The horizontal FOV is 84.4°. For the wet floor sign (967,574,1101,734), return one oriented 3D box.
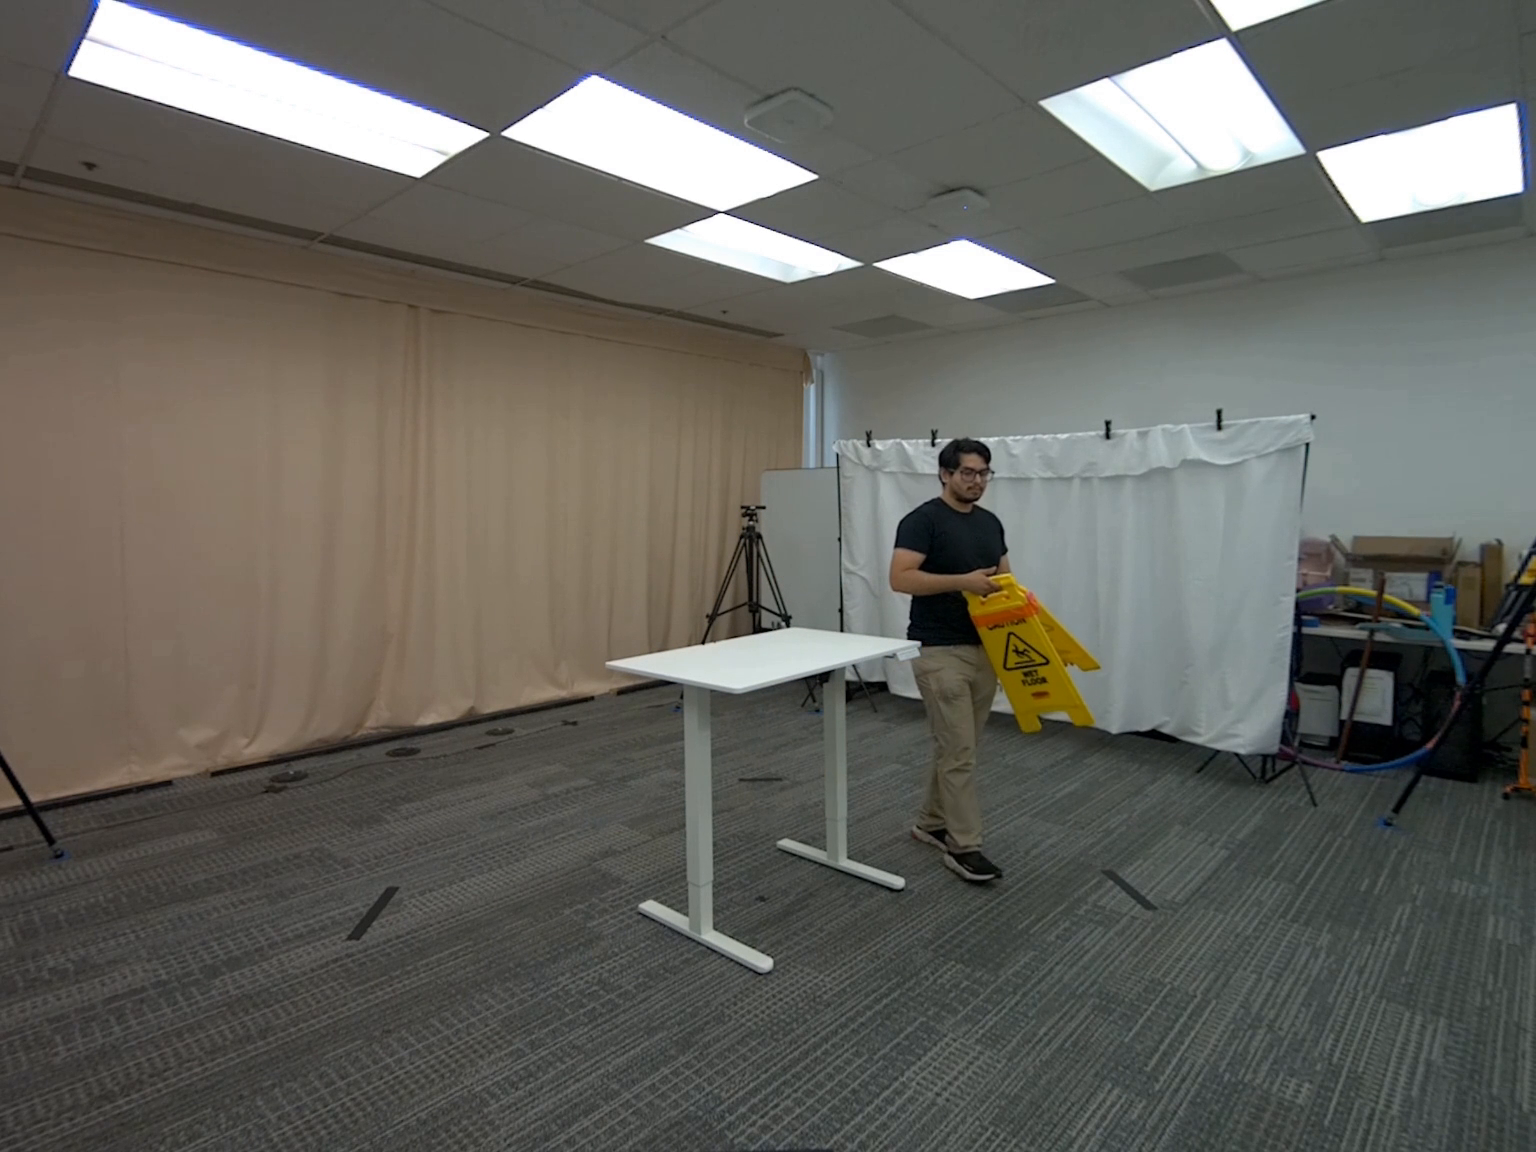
[{"bbox_3d":[0.973,0.250,3.159,0.288,0.632,0.289,-22,27,42],"label":"wet floor sign"}]
